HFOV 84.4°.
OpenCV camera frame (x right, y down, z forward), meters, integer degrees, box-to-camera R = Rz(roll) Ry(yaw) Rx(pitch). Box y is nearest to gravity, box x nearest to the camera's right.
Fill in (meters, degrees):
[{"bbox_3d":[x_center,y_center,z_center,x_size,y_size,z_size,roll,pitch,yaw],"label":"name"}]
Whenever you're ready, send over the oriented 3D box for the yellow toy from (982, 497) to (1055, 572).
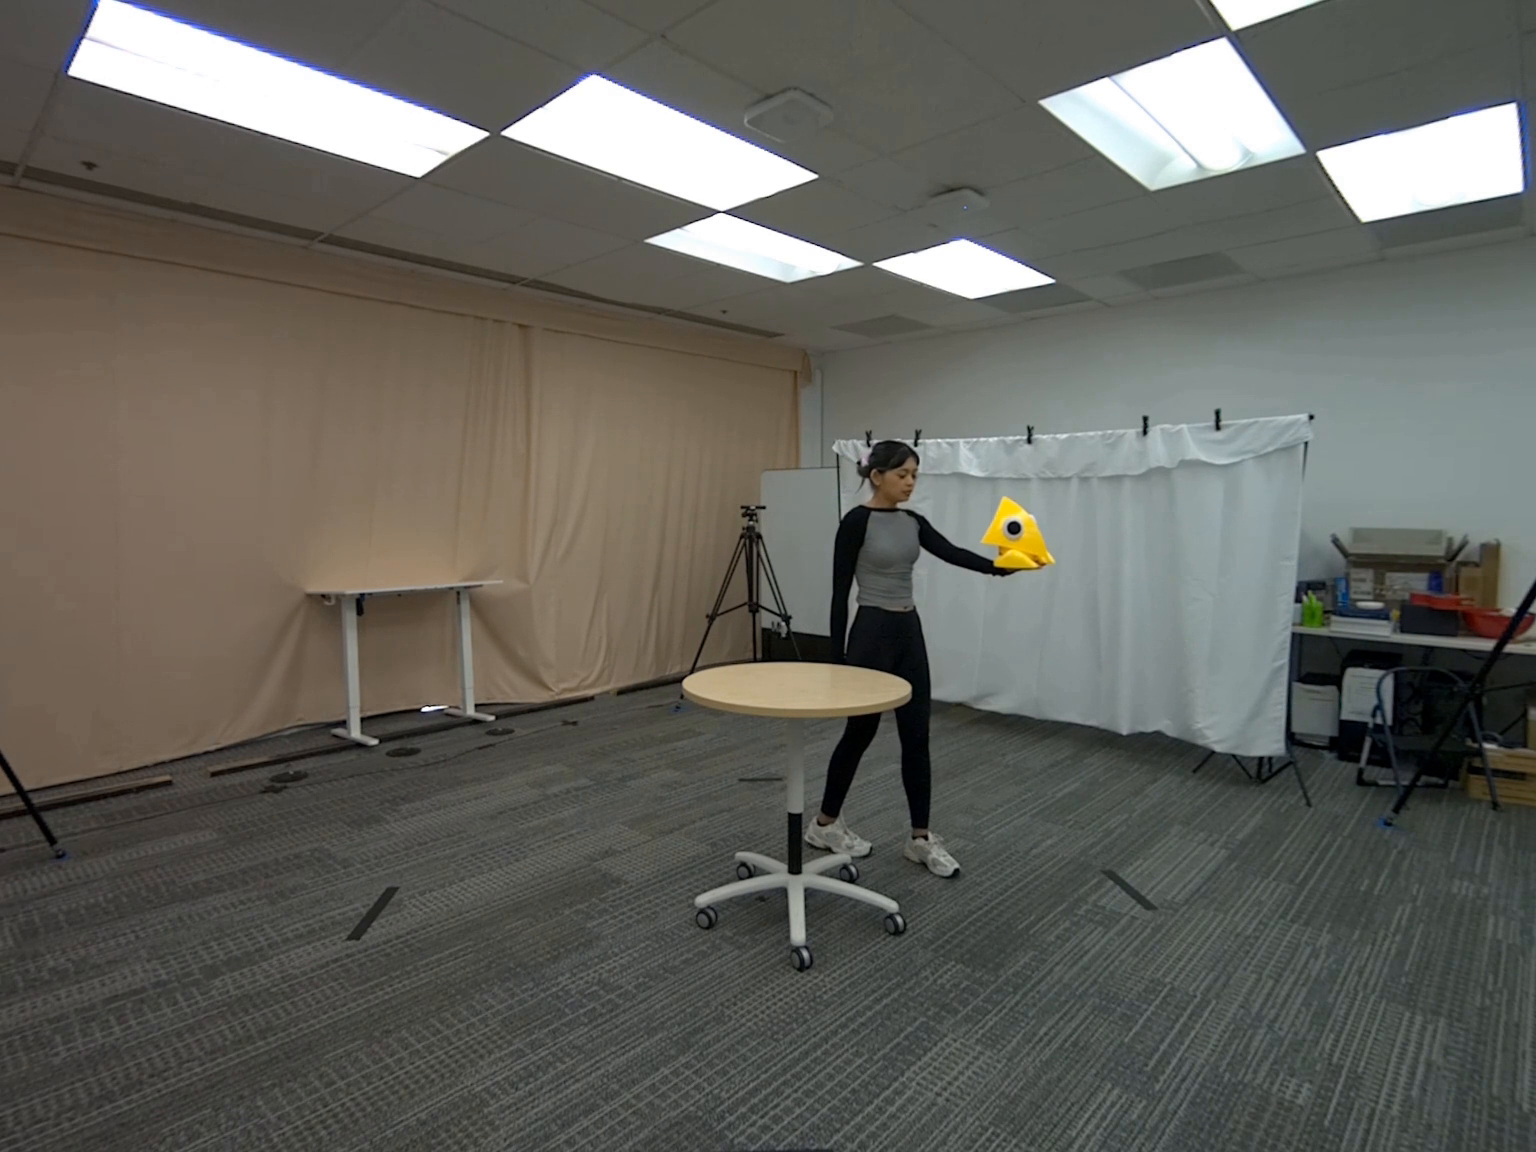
[{"bbox_3d":[0.868,-0.153,2.855,0.199,0.230,0.199,-8,8,-44],"label":"yellow toy"}]
